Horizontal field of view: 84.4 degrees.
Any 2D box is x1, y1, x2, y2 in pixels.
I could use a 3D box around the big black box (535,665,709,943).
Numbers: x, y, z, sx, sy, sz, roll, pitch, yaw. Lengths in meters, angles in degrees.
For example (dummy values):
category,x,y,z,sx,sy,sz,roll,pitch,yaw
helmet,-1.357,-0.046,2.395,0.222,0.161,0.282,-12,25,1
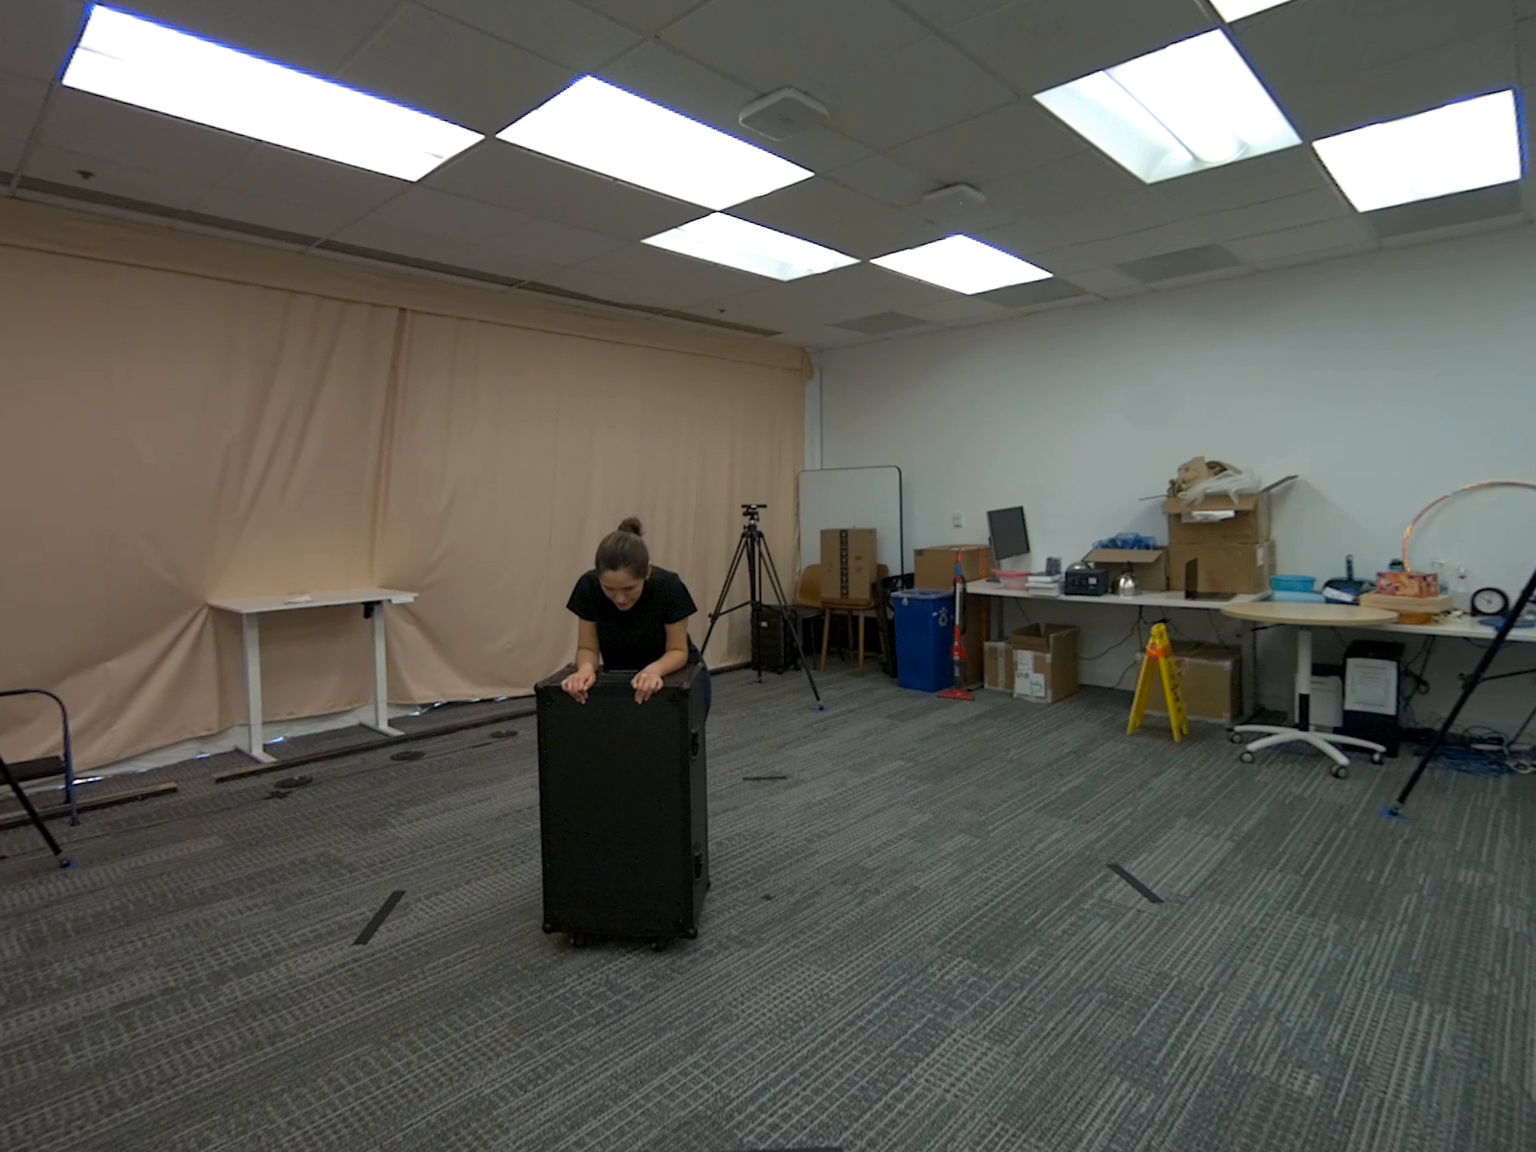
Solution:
category,x,y,z,sx,sy,sz,roll,pitch,yaw
big black box,-0.441,0.682,2.762,0.525,0.859,0.394,-1,5,6
